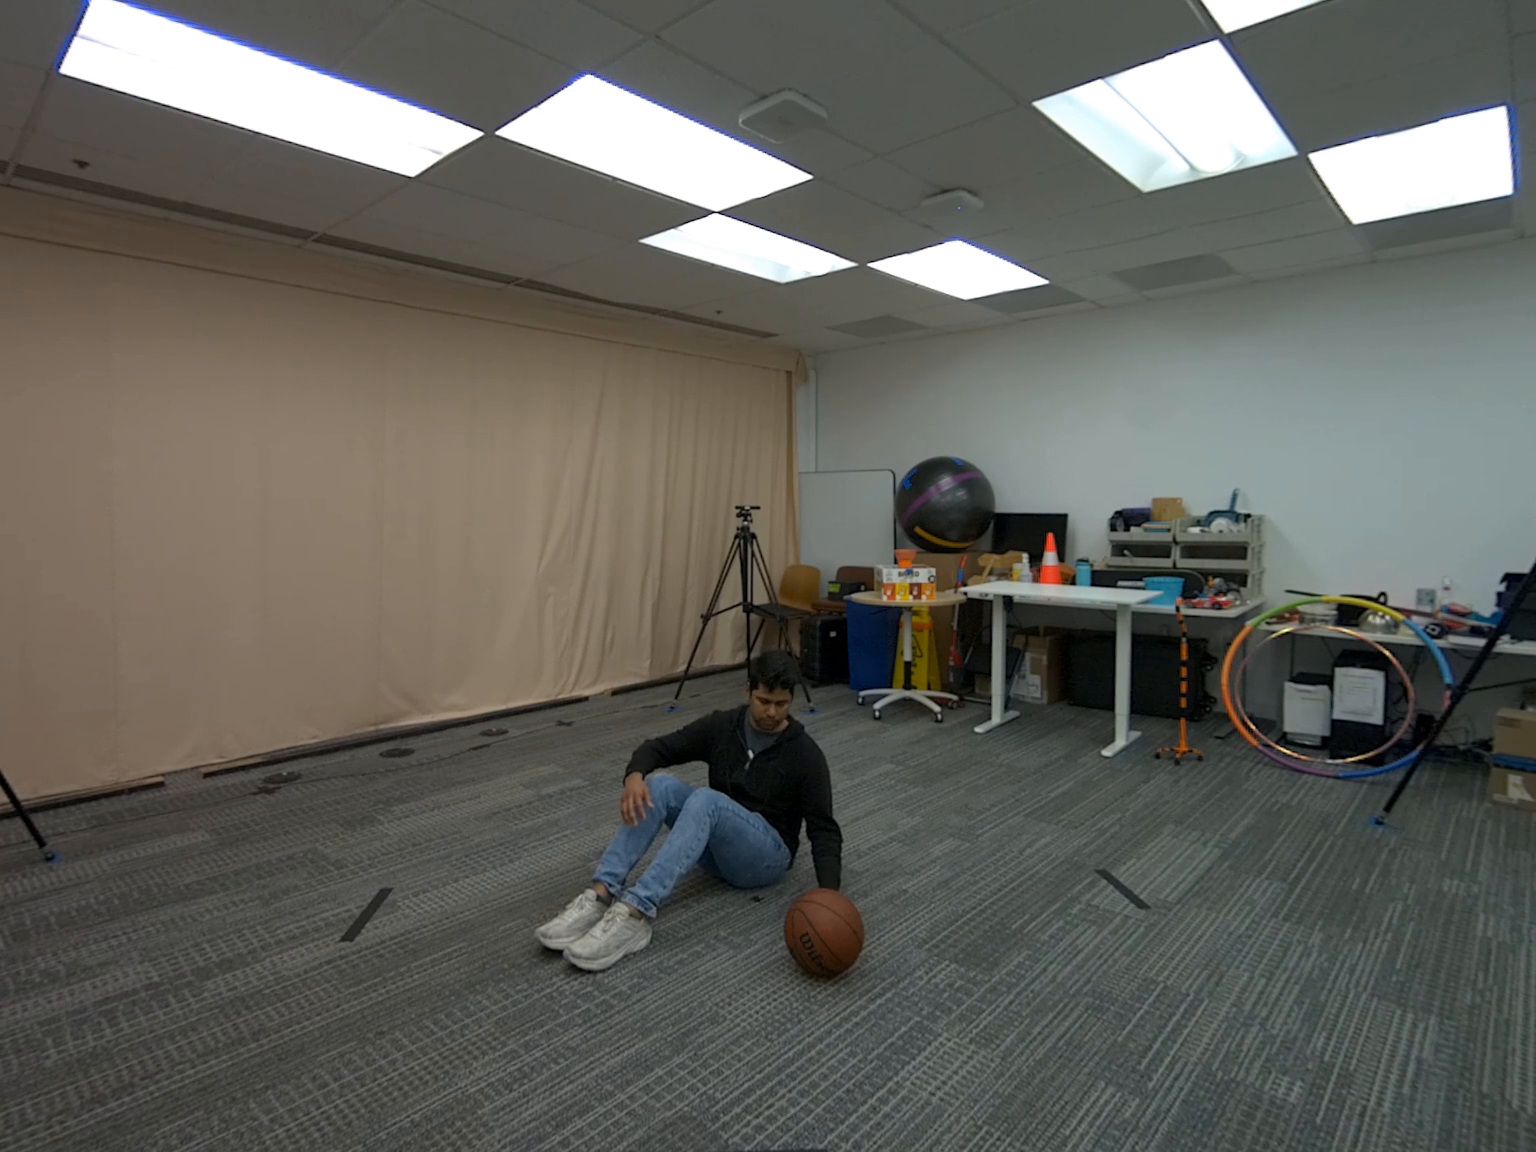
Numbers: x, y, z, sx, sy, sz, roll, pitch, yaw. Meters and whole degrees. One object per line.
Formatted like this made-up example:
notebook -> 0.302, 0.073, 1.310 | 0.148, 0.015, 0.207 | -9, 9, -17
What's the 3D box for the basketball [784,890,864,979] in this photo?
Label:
basketball -> 0.165, 1.054, 2.522 | 0.236, 0.235, 0.237 | 0, 4, -2
